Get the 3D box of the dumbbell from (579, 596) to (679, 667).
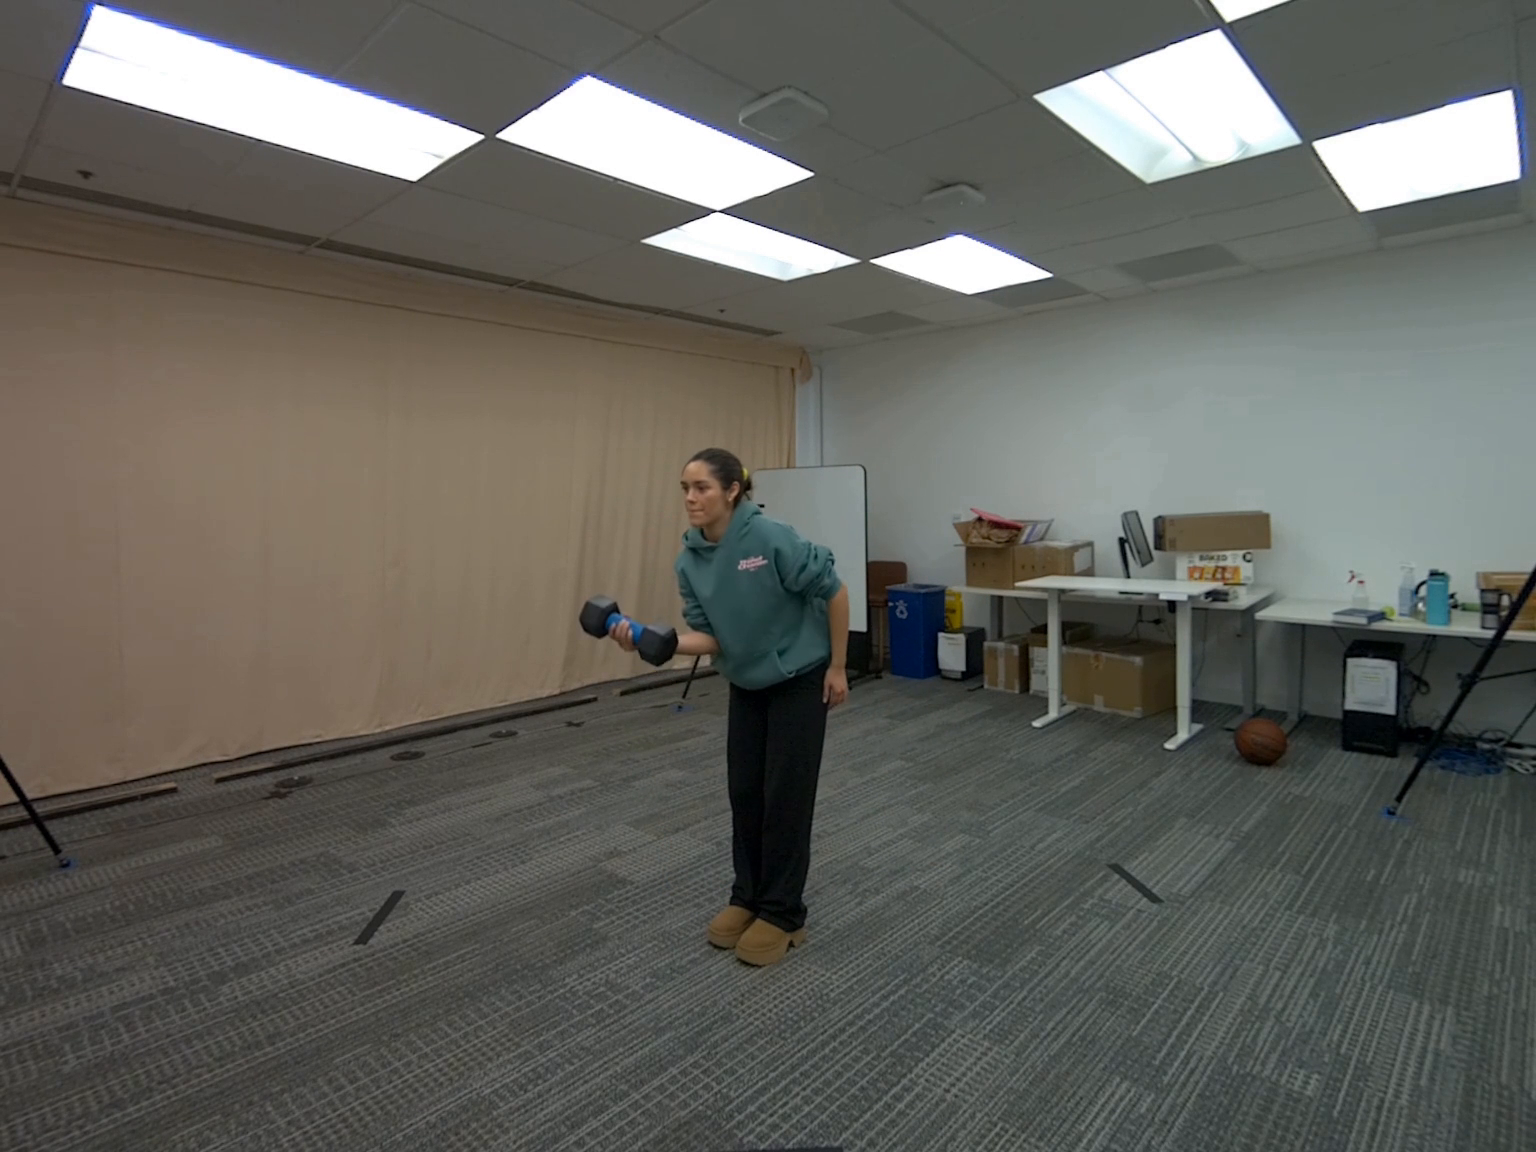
[{"bbox_3d":[-0.401,0.162,2.443,0.302,0.108,0.120,22,25,24],"label":"dumbbell"}]
